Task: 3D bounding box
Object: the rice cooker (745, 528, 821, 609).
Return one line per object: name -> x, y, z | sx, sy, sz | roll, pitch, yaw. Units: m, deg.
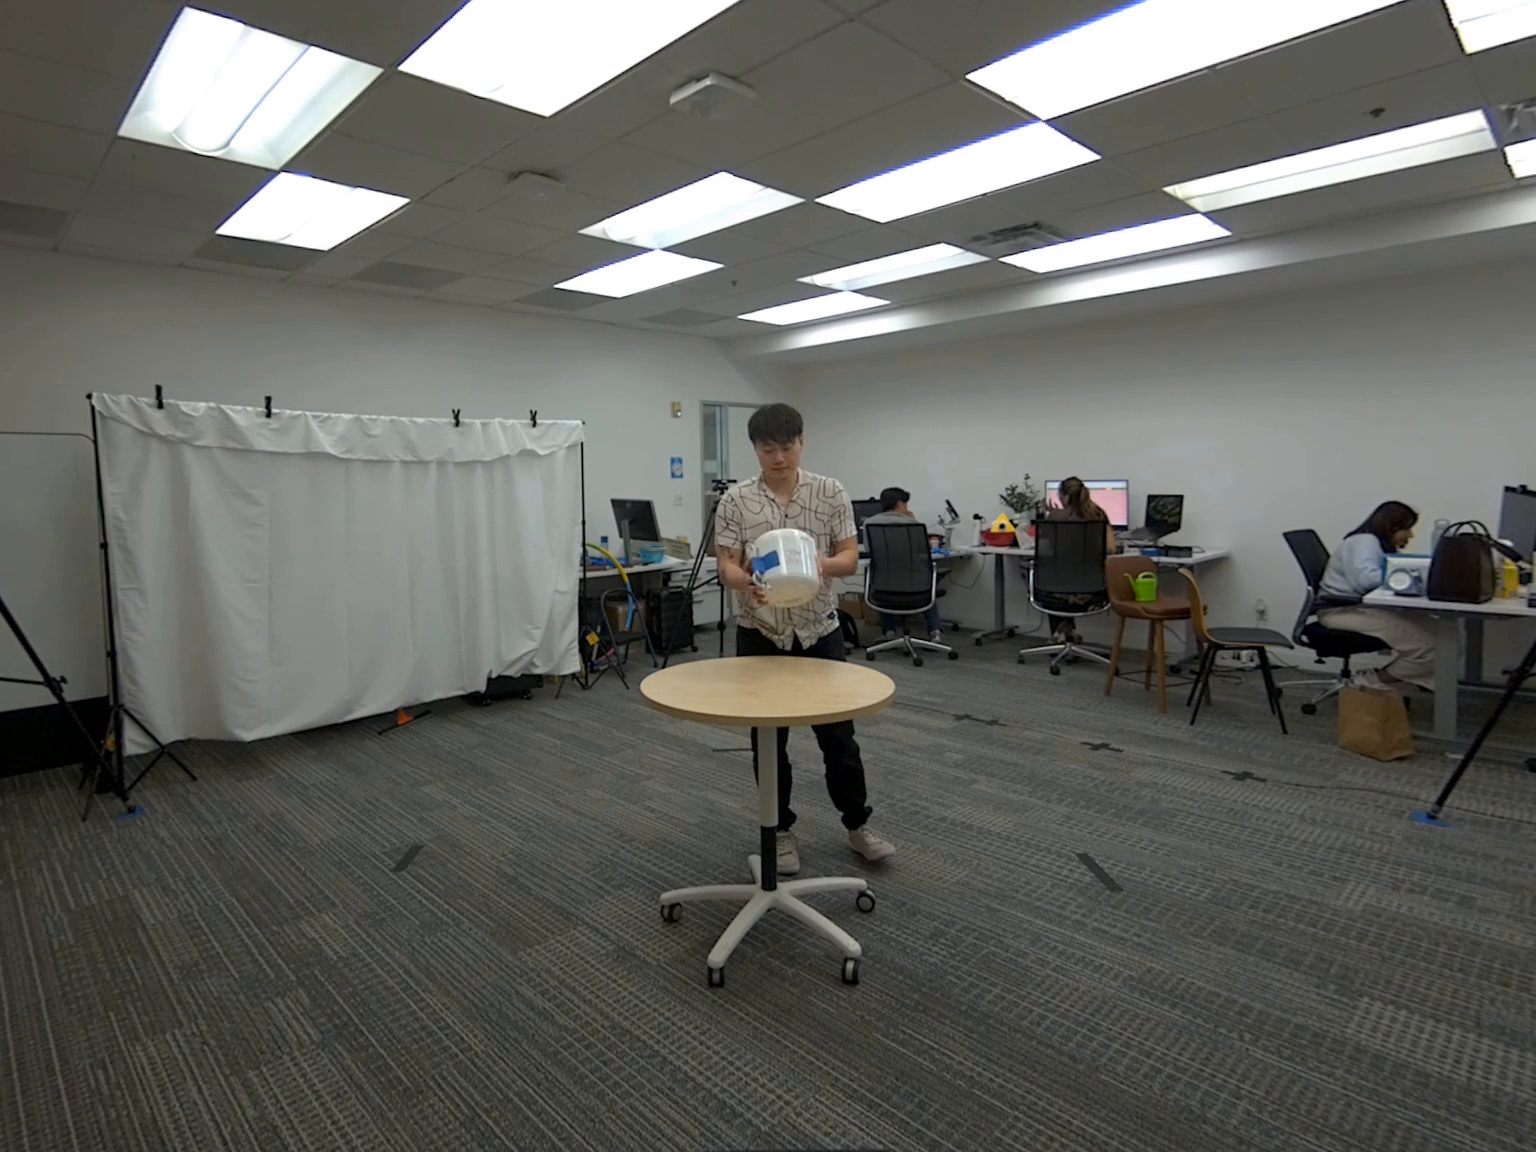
rice cooker -> 0.056, -0.037, 2.772 | 0.222, 0.238, 0.210 | -10, -28, 9
